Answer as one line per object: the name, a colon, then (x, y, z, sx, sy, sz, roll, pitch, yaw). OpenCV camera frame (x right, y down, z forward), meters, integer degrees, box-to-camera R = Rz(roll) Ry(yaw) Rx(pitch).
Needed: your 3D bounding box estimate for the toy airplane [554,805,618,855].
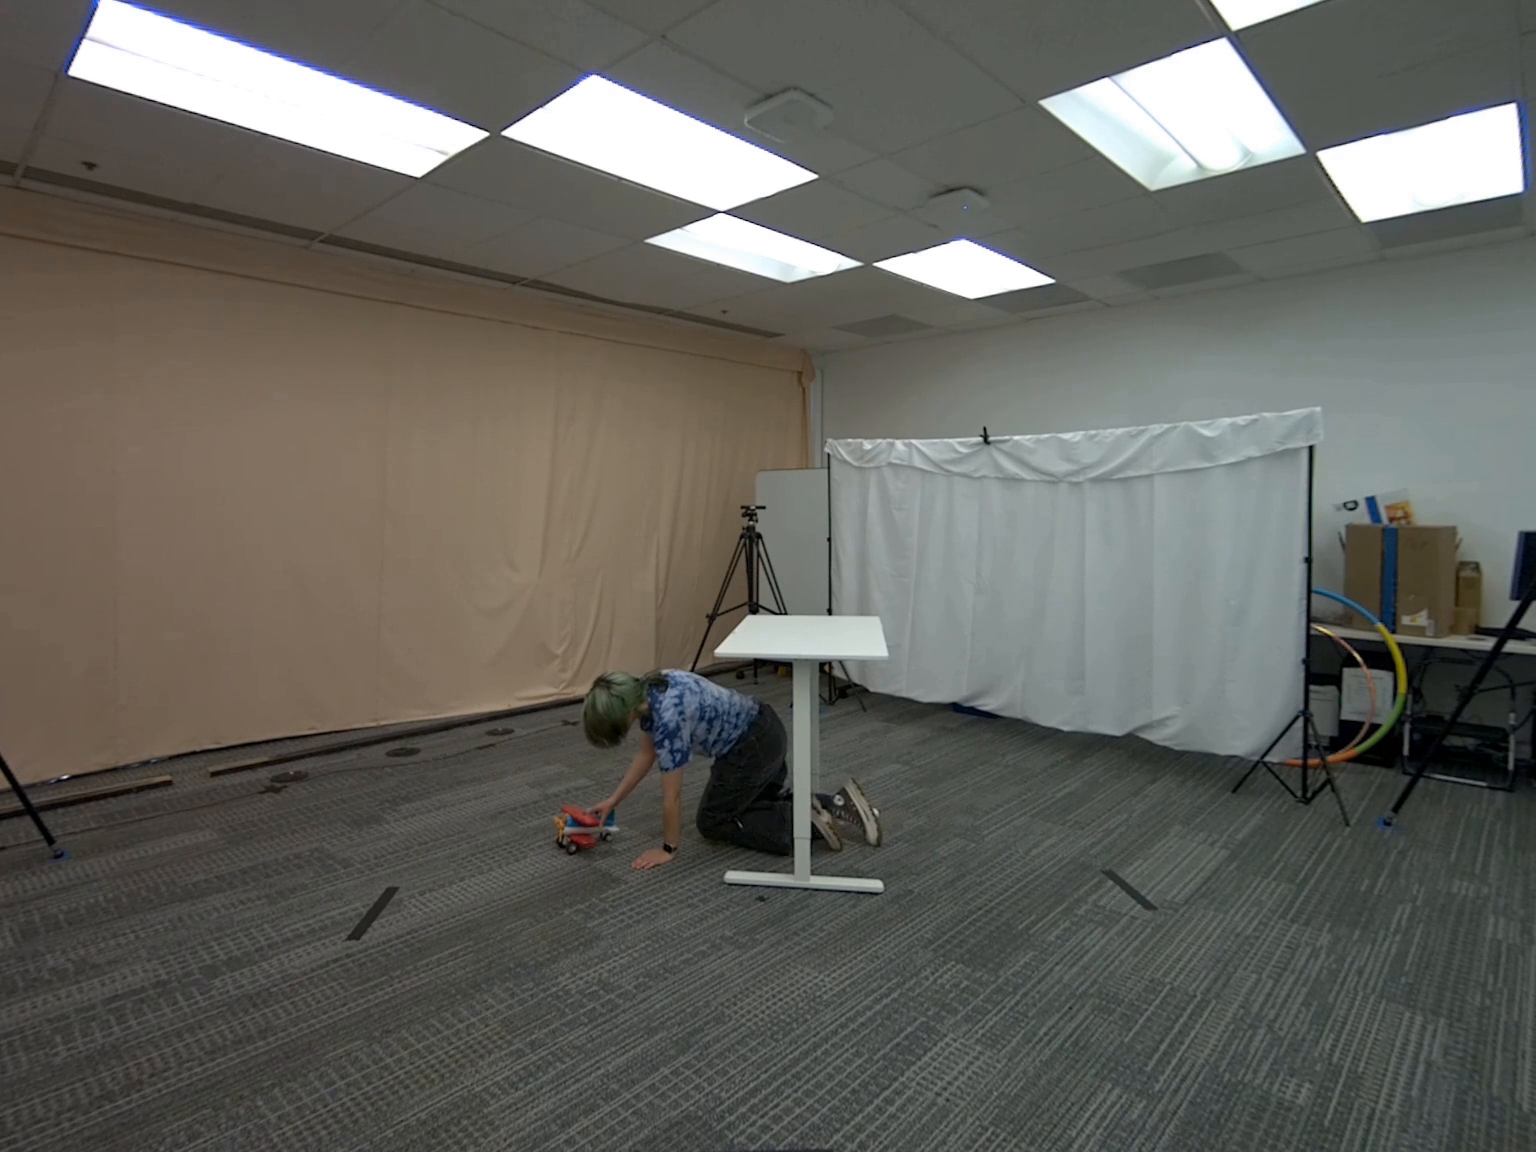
toy airplane: (-0.758, 1.039, 3.487, 0.257, 0.156, 0.253, 1, 5, 25)
